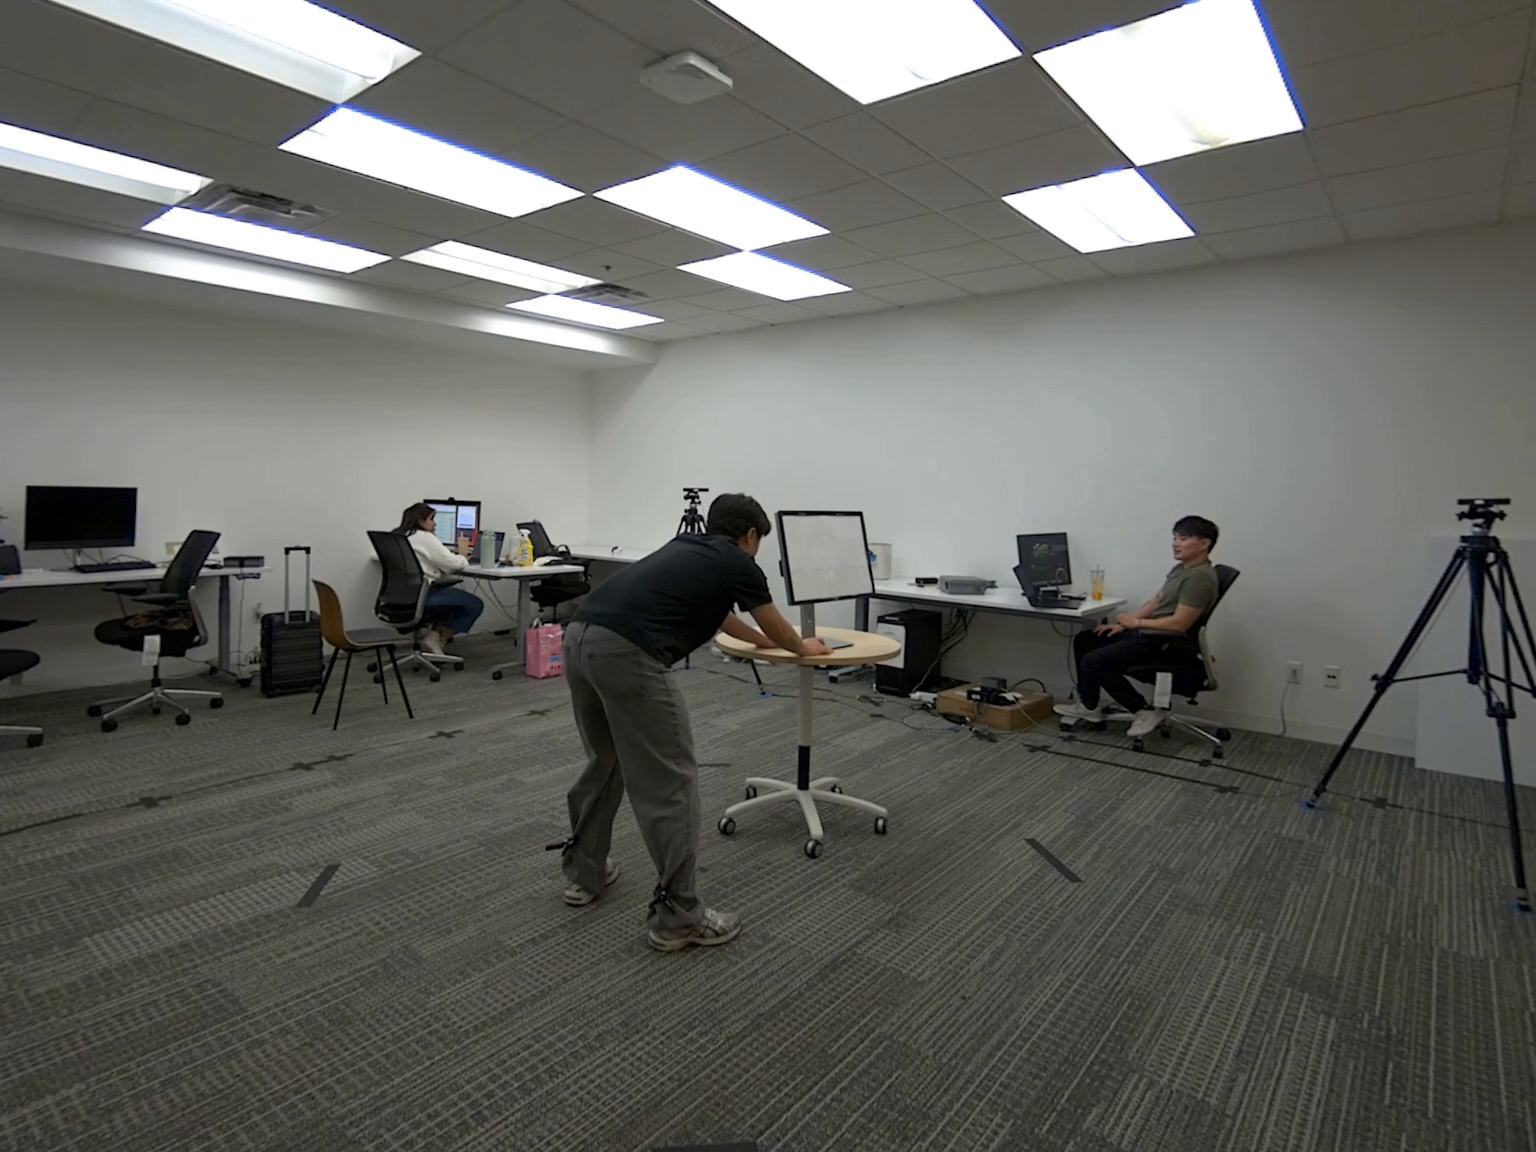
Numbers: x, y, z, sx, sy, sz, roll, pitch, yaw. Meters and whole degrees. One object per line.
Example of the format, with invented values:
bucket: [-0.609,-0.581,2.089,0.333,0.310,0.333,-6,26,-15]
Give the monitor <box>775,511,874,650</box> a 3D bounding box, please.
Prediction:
monitor: [0.184,0.007,3.449,0.216,0.555,0.548,-5,-1,41]
